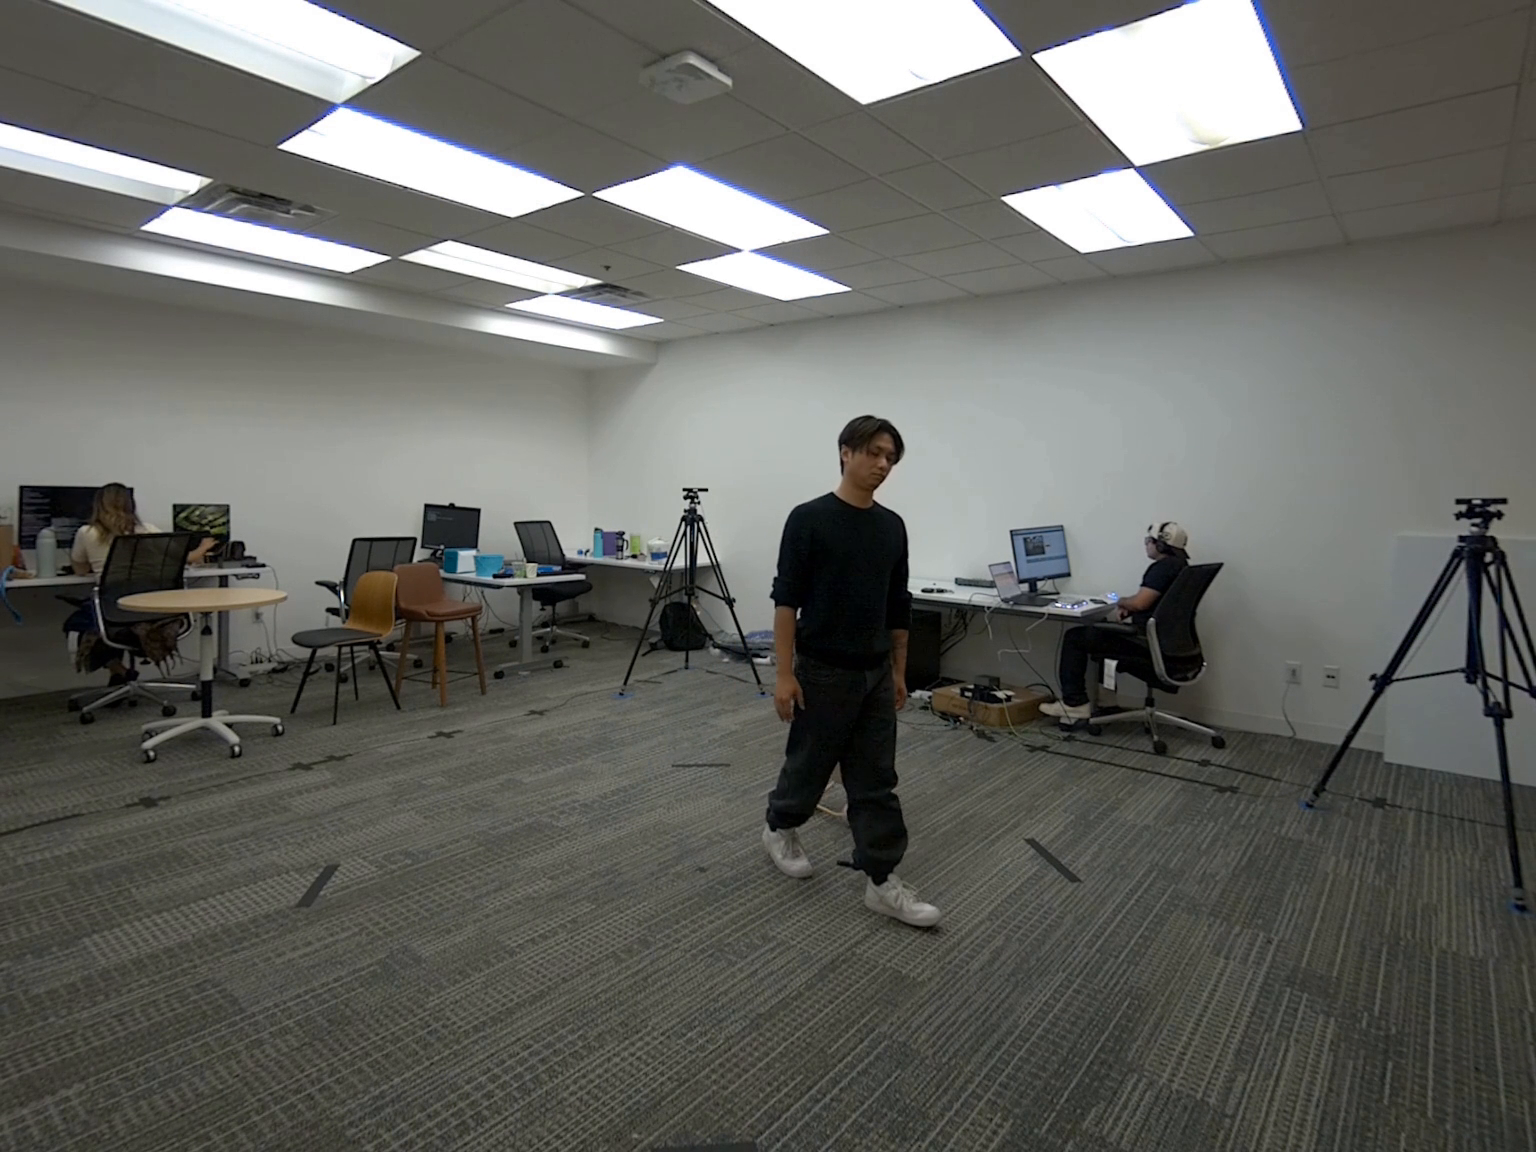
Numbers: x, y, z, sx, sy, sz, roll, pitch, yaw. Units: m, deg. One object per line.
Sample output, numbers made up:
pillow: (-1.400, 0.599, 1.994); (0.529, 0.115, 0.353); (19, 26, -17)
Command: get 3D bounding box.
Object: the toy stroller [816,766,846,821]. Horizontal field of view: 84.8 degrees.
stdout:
toy stroller: (0.319, 0.794, 3.660); (0.335, 0.528, 0.290); (-20, 14, -30)
